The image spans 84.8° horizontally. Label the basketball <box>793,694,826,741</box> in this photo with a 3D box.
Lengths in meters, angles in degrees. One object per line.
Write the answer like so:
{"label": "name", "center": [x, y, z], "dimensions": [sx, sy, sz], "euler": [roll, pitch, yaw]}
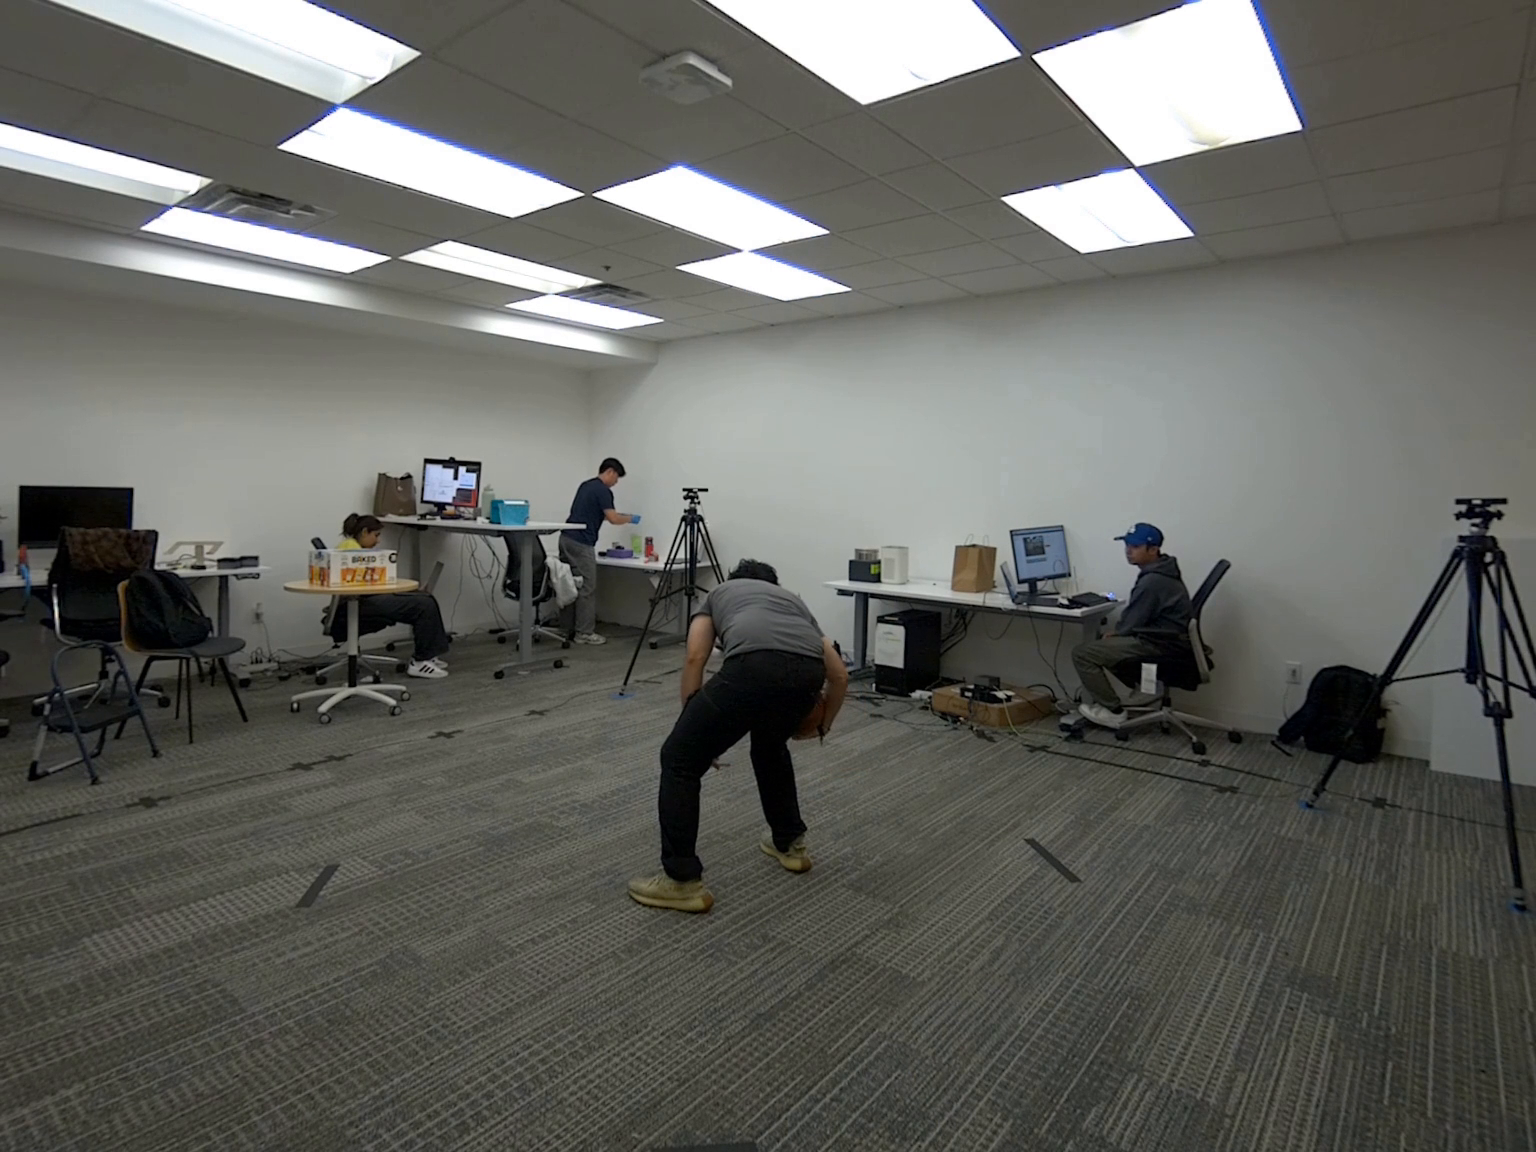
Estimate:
{"label": "basketball", "center": [0.097, 0.505, 3.348], "dimensions": [0.235, 0.235, 0.237], "euler": [1, 4, -2]}
